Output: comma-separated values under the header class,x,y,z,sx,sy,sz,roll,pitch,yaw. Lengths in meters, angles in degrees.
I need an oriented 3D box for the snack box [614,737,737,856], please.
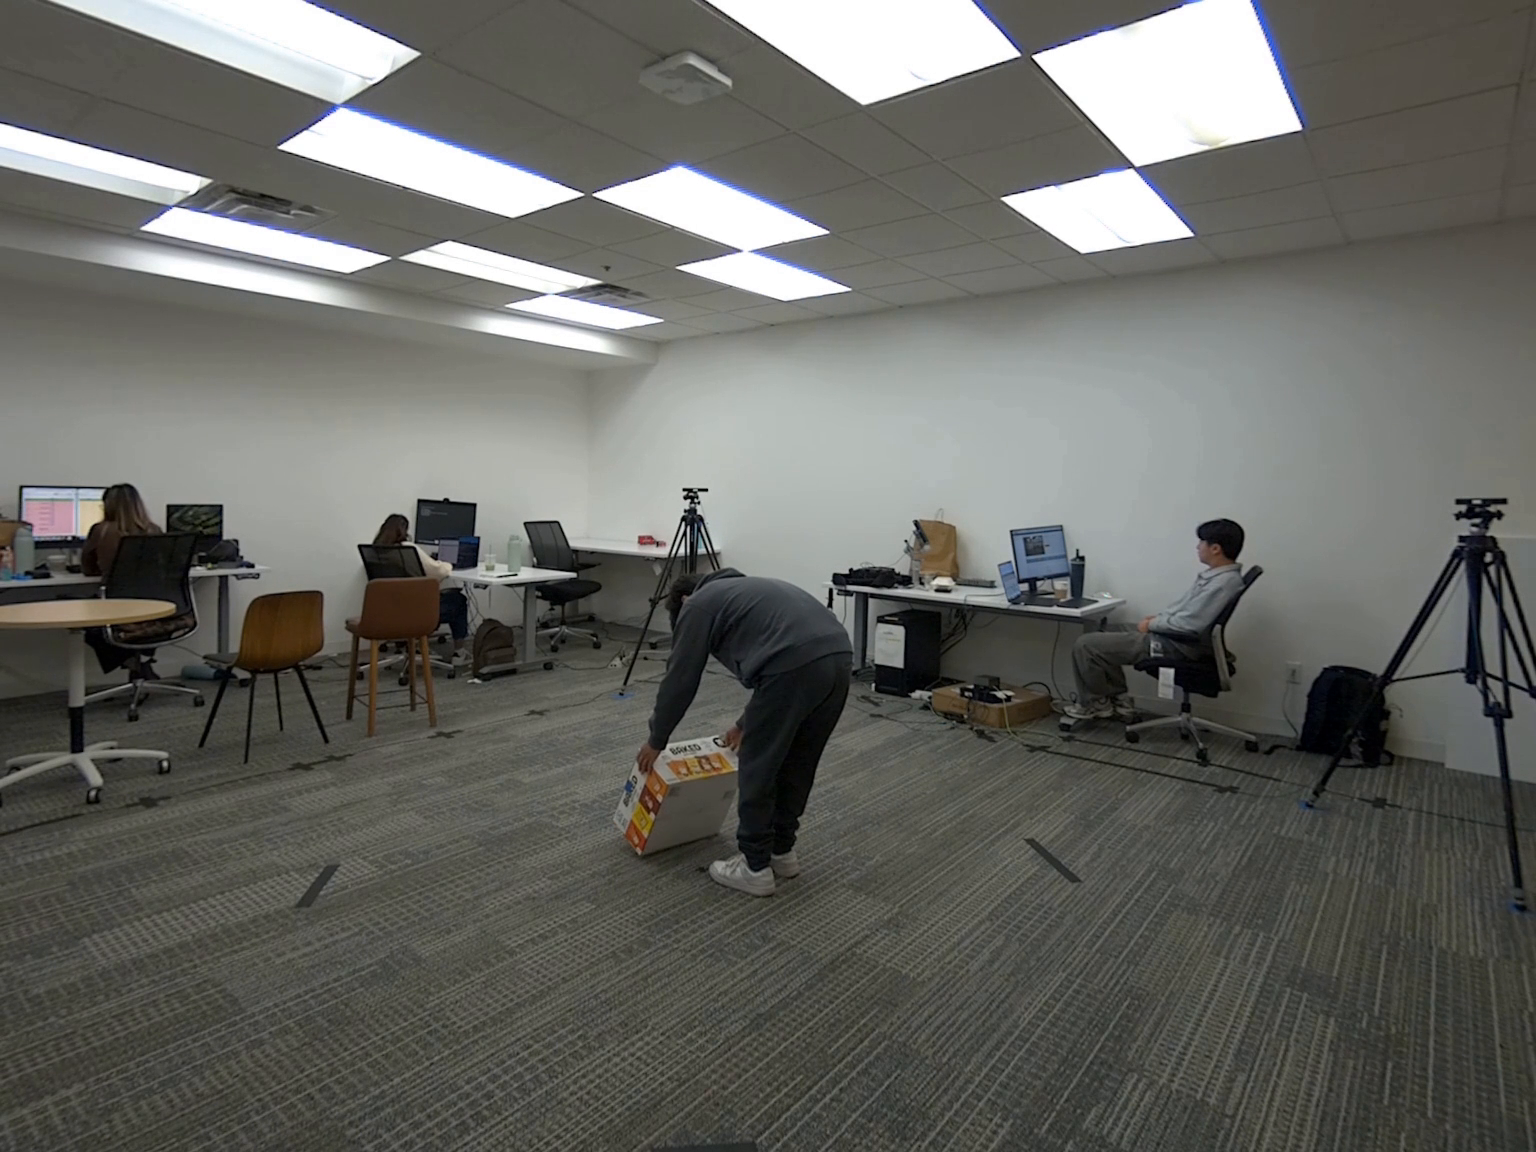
class,x,y,z,sx,sy,sz,roll,pitch,yaw
snack box,-0.351,0.844,3.312,0.392,0.337,0.214,1,29,-45
